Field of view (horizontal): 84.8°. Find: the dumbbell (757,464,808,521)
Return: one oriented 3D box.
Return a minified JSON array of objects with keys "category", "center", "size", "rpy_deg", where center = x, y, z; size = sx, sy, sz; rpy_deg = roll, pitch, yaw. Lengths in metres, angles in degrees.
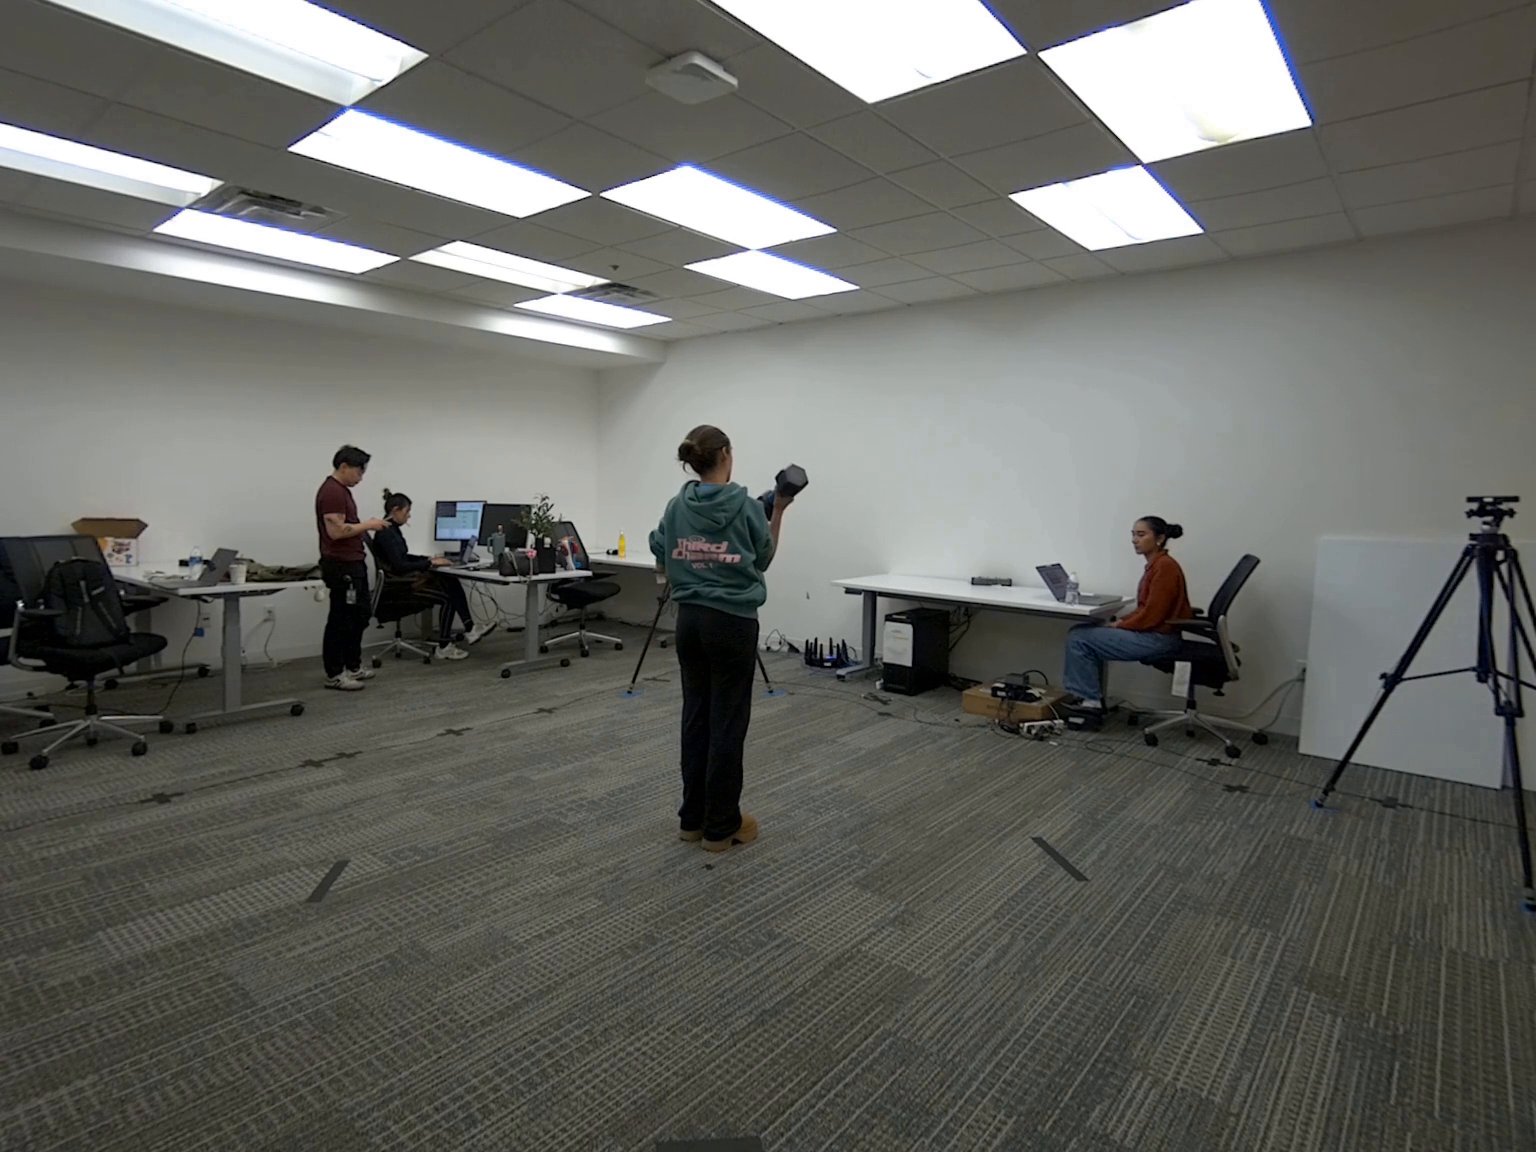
[{"category":"dumbbell","center":[0.038,-0.332,3.395],"size":[0.122,0.109,0.293],"rpy_deg":[-39,-5,-36]}]
